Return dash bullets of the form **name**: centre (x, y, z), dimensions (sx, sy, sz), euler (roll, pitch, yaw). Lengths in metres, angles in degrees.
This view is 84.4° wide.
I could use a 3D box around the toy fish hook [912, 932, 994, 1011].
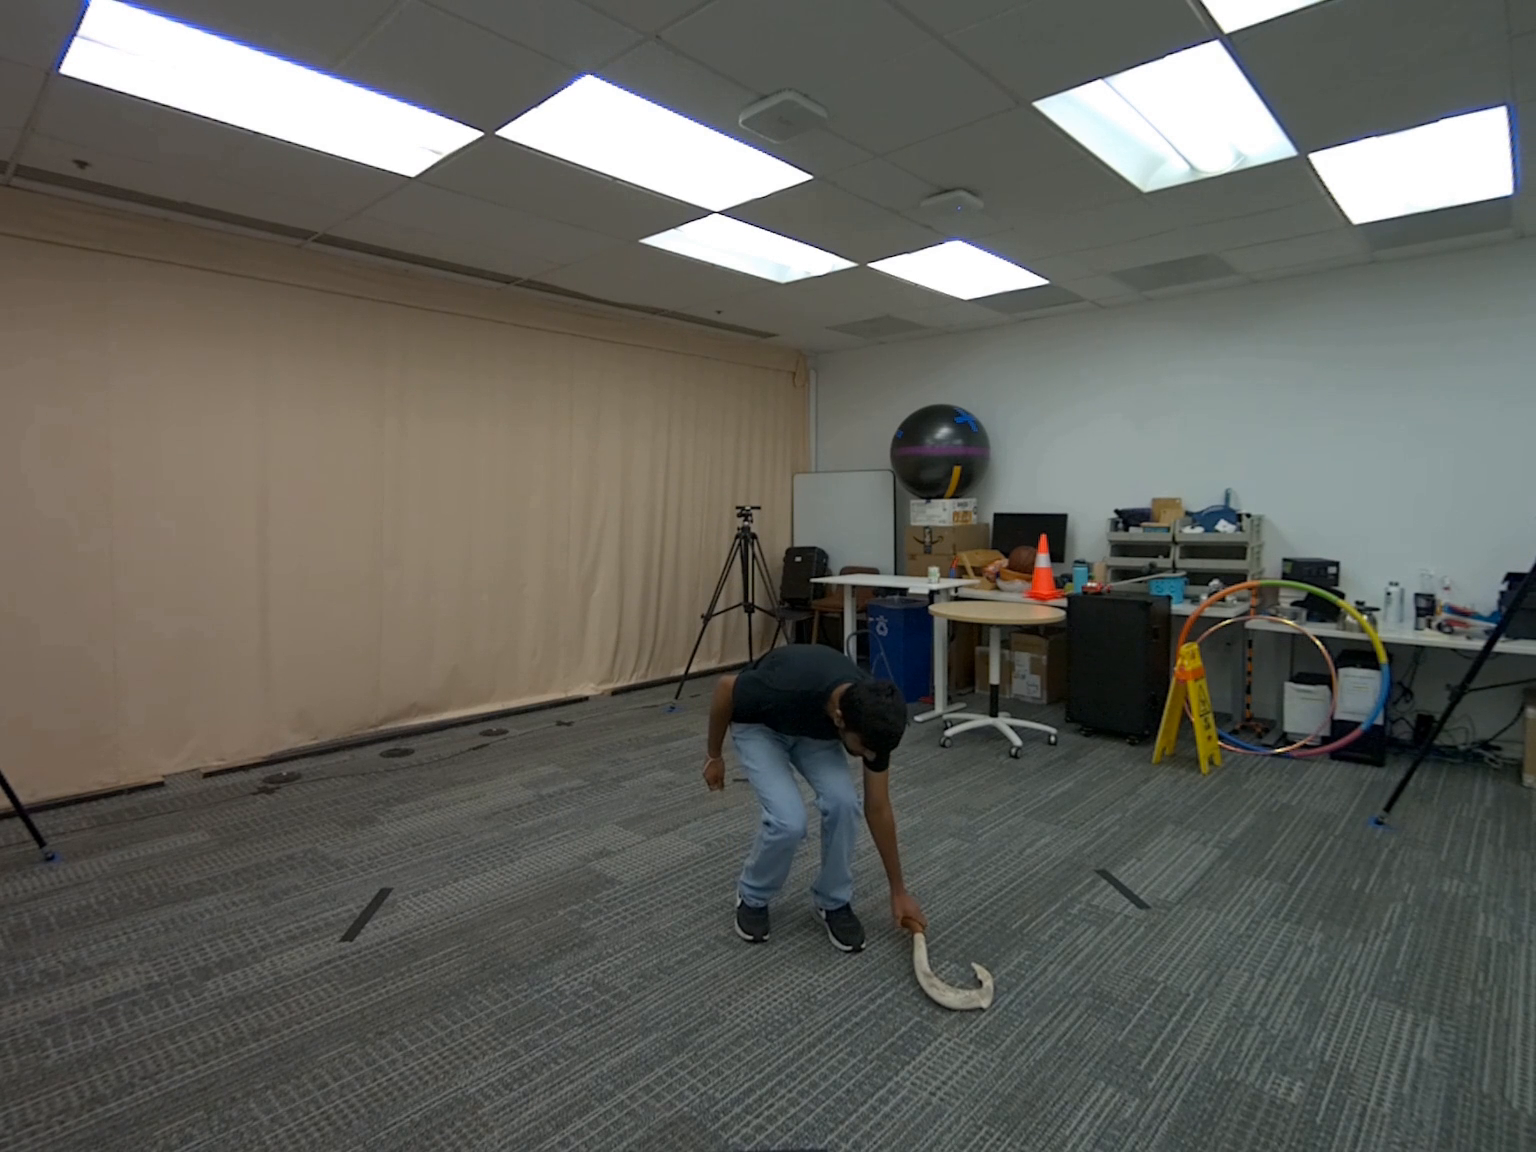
- **toy fish hook**: centre (0.521, 1.127, 2.557), dimensions (0.222, 0.048, 0.514), euler (8, 11, -9)
